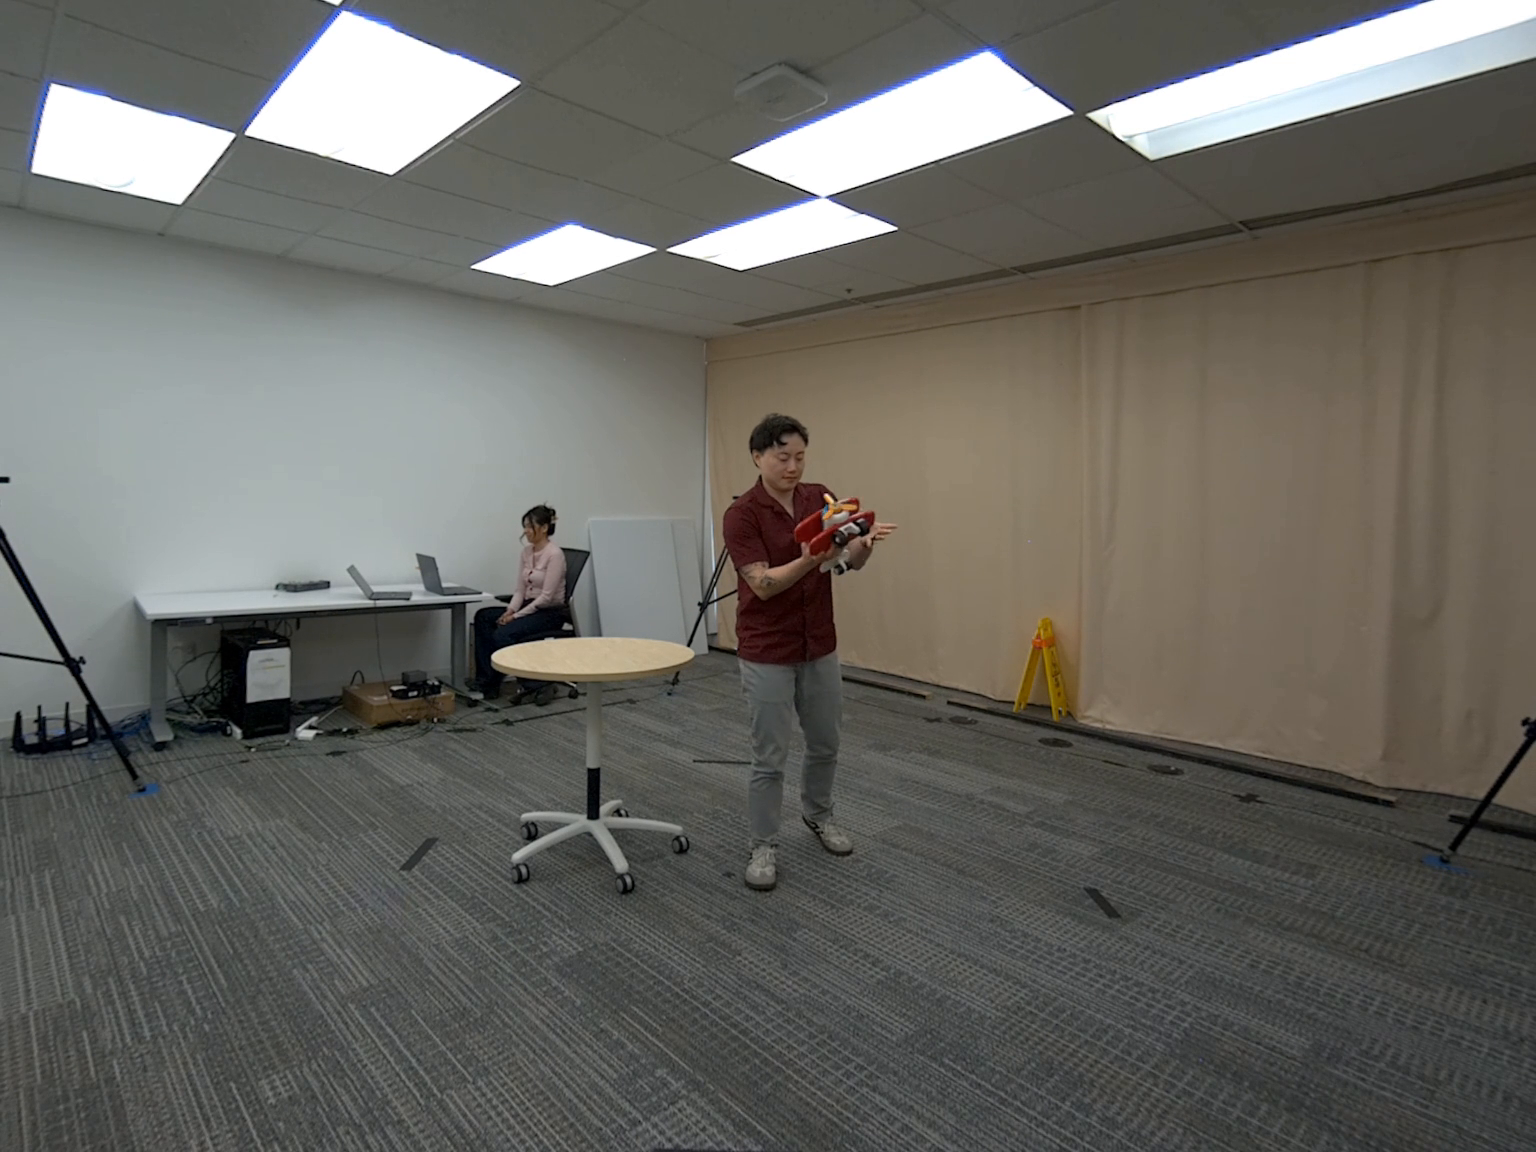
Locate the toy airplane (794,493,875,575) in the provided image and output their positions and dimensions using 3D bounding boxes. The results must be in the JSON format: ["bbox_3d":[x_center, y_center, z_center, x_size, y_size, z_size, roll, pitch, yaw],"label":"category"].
[{"bbox_3d":[0.201,-0.097,2.669,0.246,0.258,0.160,-9,53,-44],"label":"toy airplane"}]
